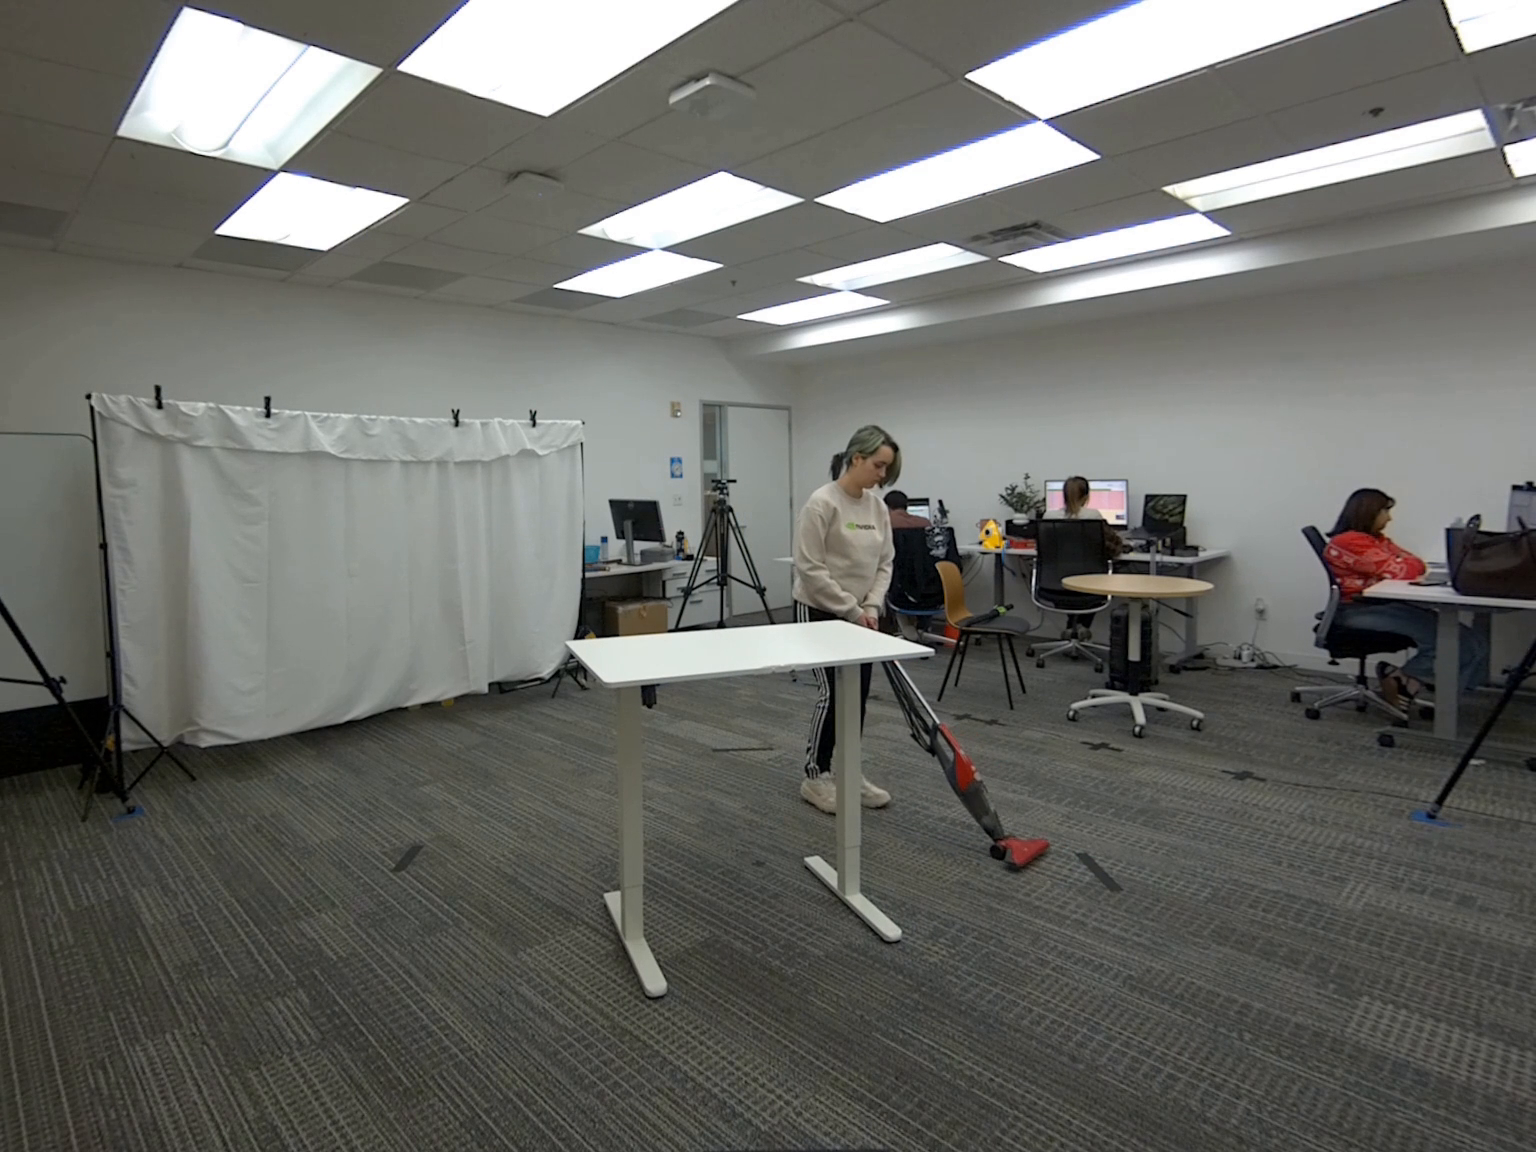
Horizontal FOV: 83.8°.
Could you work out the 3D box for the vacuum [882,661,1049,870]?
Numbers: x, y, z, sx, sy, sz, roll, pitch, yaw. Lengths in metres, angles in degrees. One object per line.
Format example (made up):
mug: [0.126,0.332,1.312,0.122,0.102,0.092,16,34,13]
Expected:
vacuum: [0.652,0.613,3.342,0.245,1.082,0.144,5,-45,-51]
